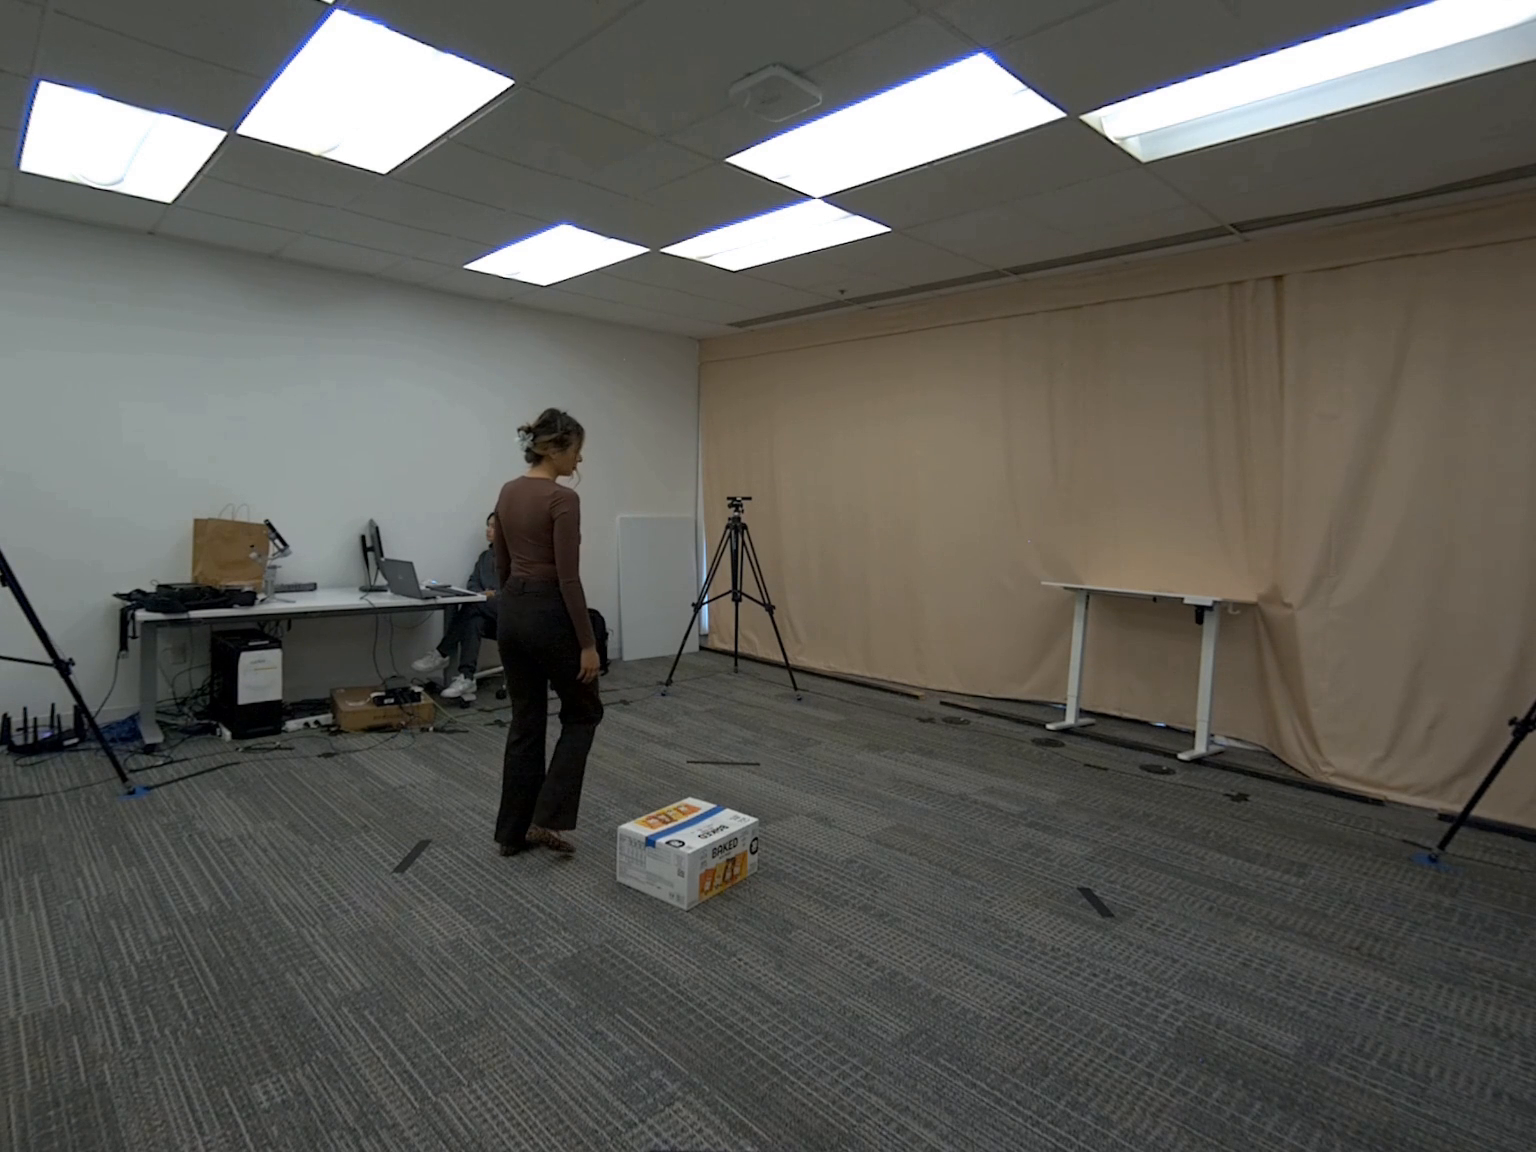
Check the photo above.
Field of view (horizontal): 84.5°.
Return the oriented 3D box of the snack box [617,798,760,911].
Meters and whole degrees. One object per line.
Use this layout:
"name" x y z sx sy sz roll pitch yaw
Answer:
"snack box" -0.298 1.004 3.077 0.349 0.205 0.396 5 6 37
